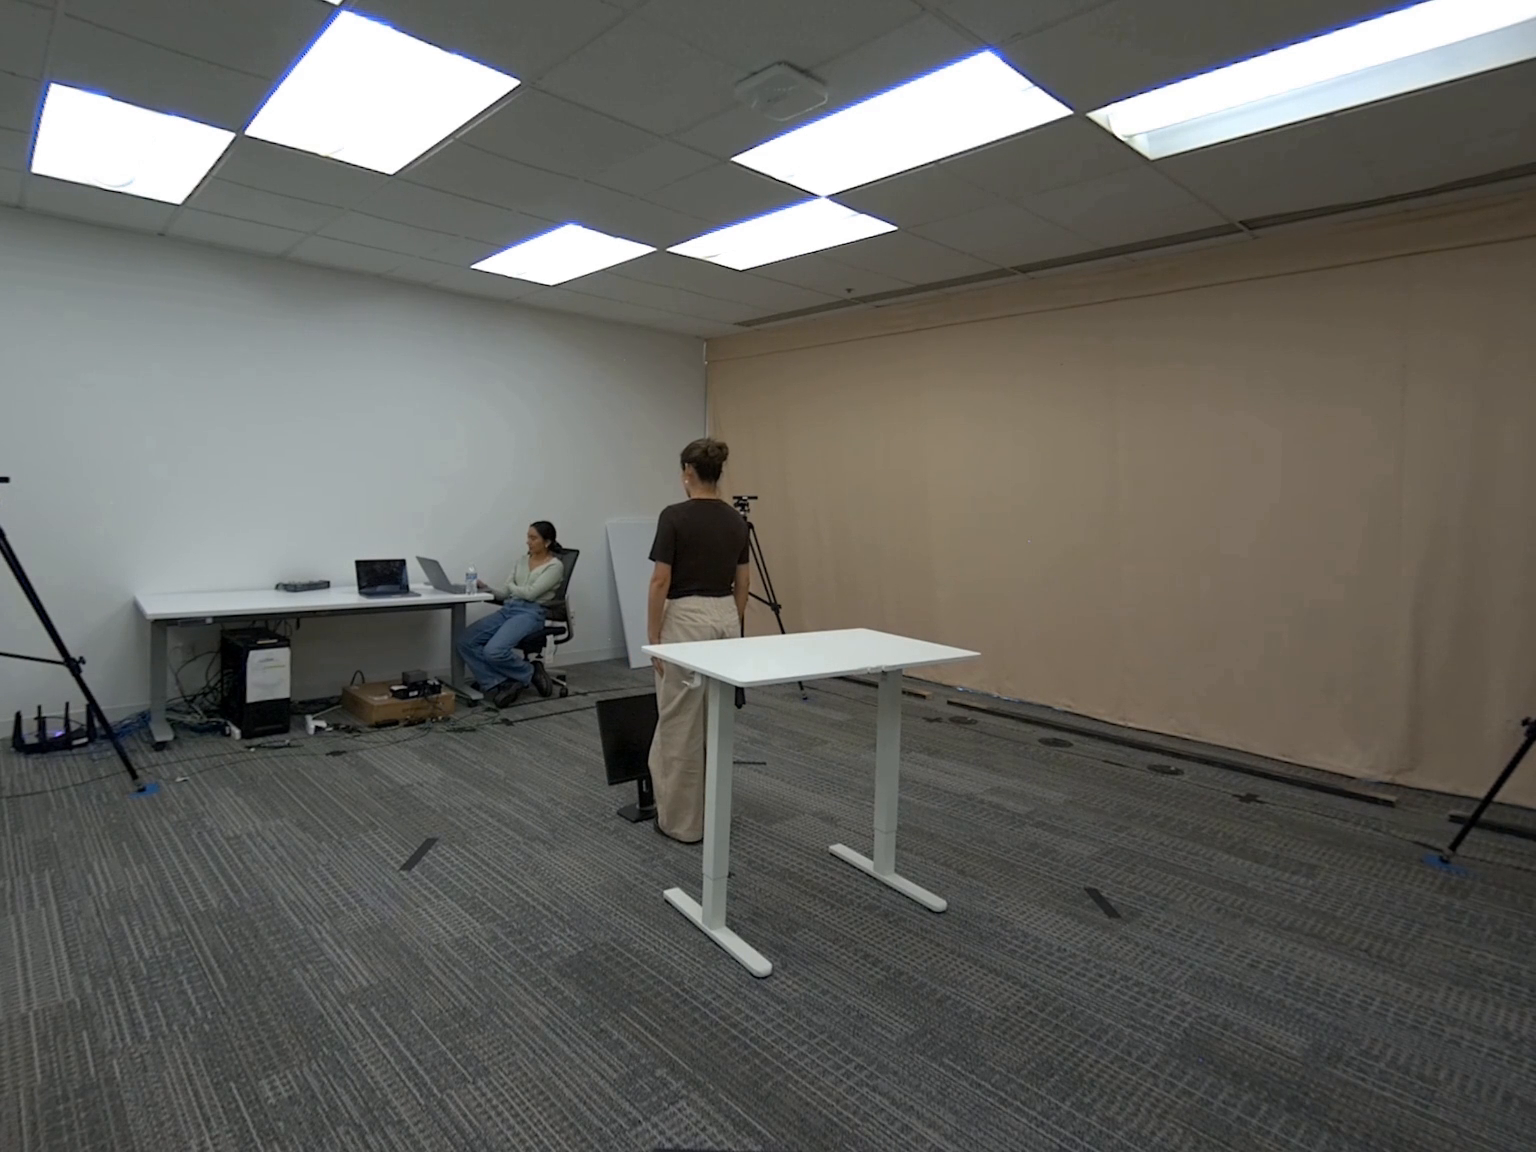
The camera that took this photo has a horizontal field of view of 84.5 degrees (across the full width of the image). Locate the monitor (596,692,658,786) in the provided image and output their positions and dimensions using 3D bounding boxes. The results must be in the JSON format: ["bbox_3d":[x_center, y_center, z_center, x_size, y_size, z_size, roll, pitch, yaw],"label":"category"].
[{"bbox_3d":[-0.535,0.787,3.726,0.526,0.523,0.191,-1,-1,-44],"label":"monitor"}]
